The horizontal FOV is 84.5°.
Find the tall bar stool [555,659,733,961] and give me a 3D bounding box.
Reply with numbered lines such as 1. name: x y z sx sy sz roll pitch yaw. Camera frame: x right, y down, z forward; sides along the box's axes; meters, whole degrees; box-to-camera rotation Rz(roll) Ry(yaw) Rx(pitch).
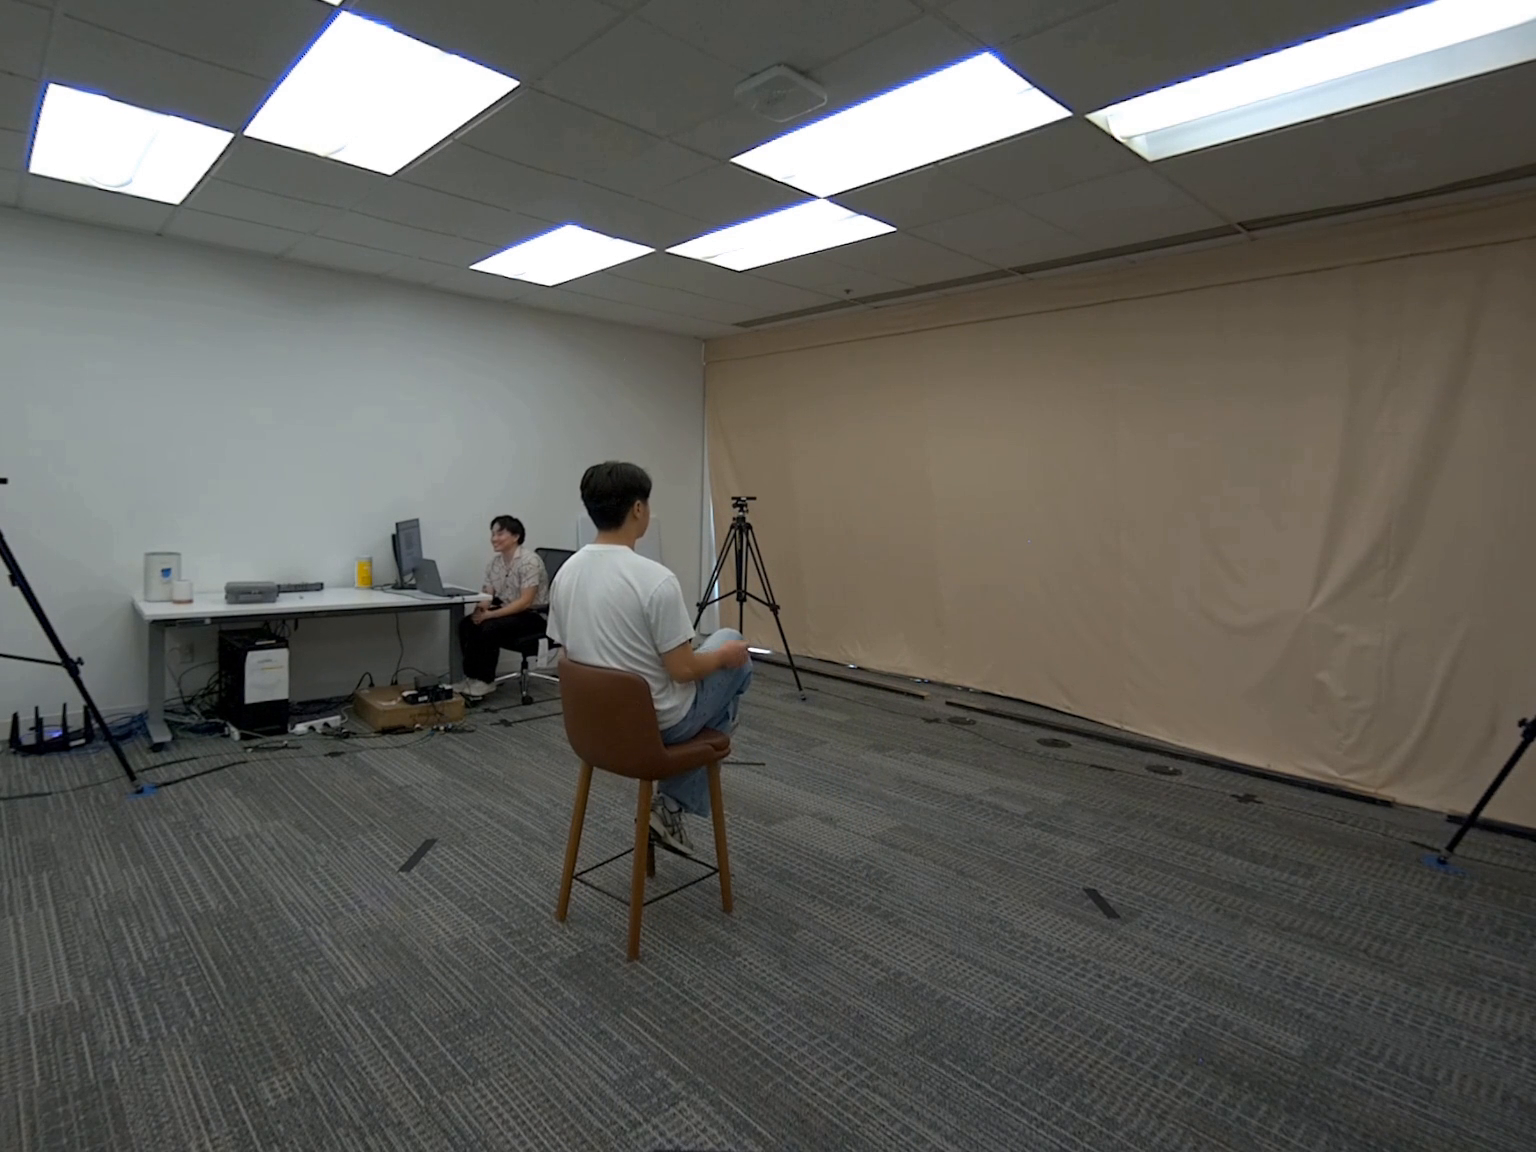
1. tall bar stool: -0.421 0.699 2.771 0.468 0.887 0.458 3 6 40
